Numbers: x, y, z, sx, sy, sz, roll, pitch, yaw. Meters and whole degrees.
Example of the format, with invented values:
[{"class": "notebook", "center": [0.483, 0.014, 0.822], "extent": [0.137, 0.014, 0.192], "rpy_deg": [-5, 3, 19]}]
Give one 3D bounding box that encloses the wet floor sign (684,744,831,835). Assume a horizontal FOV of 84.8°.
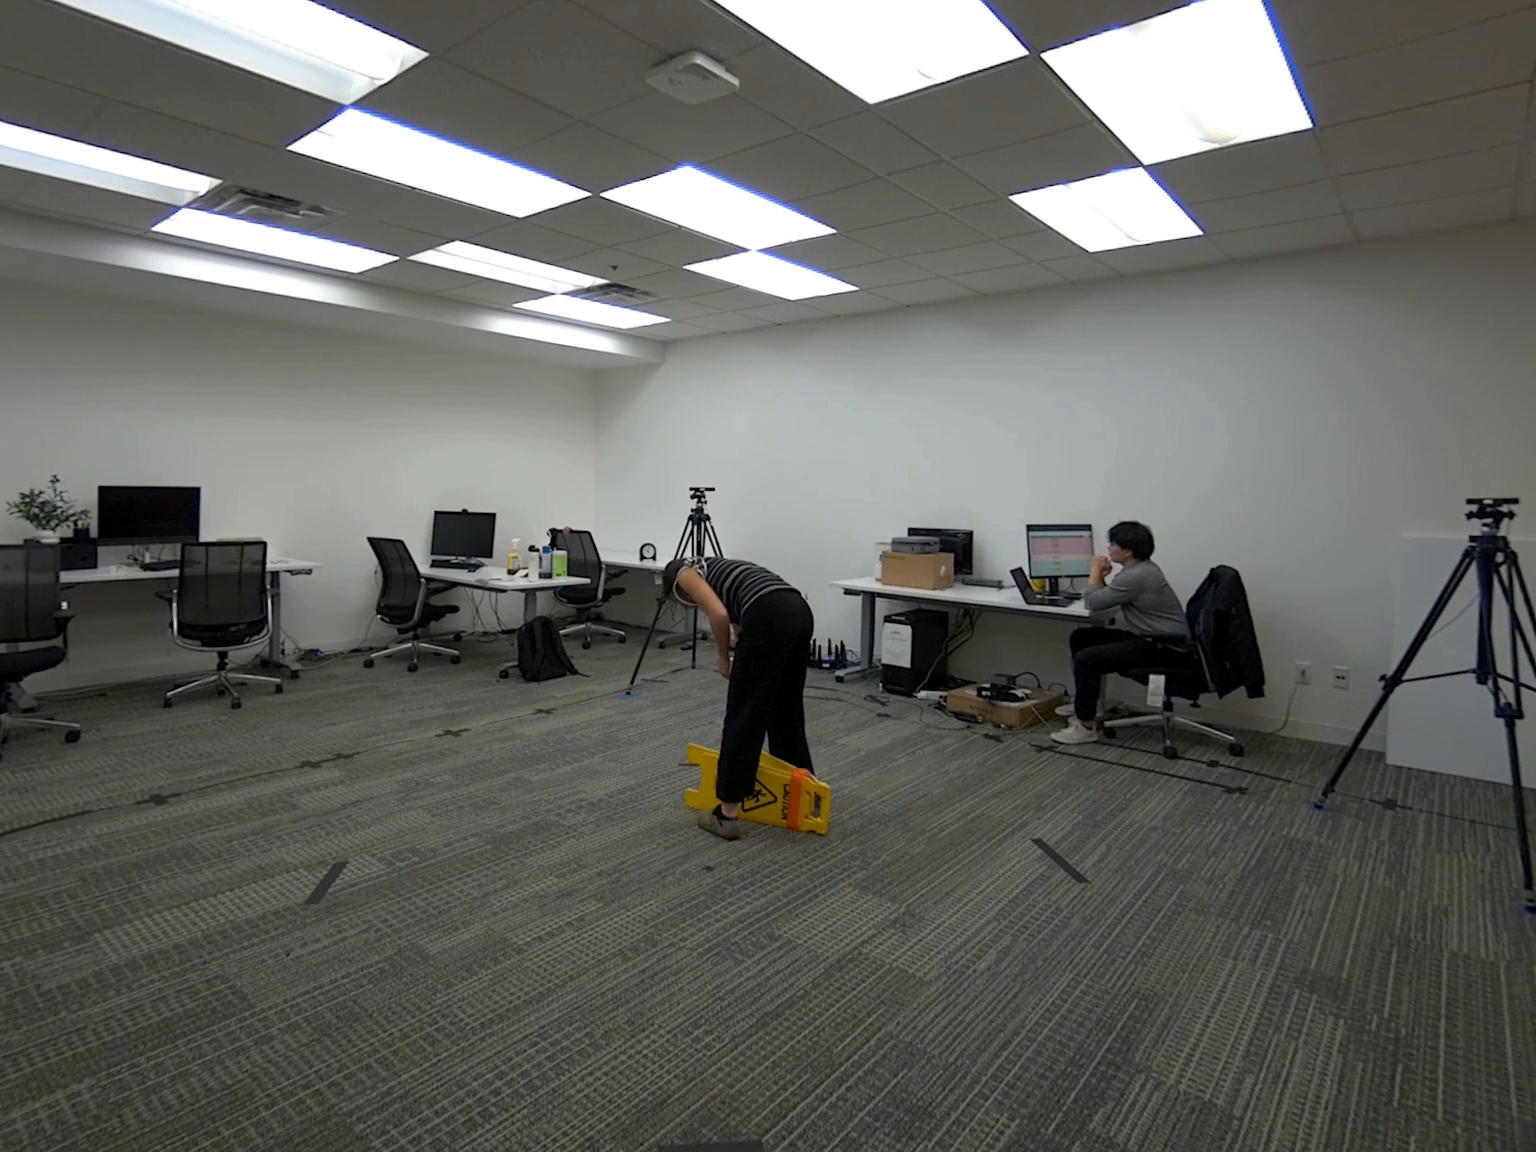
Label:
[{"class": "wet floor sign", "center": [-0.032, 0.896, 3.618], "extent": [0.668, 0.281, 0.281], "rpy_deg": [8, 7, 36]}]
